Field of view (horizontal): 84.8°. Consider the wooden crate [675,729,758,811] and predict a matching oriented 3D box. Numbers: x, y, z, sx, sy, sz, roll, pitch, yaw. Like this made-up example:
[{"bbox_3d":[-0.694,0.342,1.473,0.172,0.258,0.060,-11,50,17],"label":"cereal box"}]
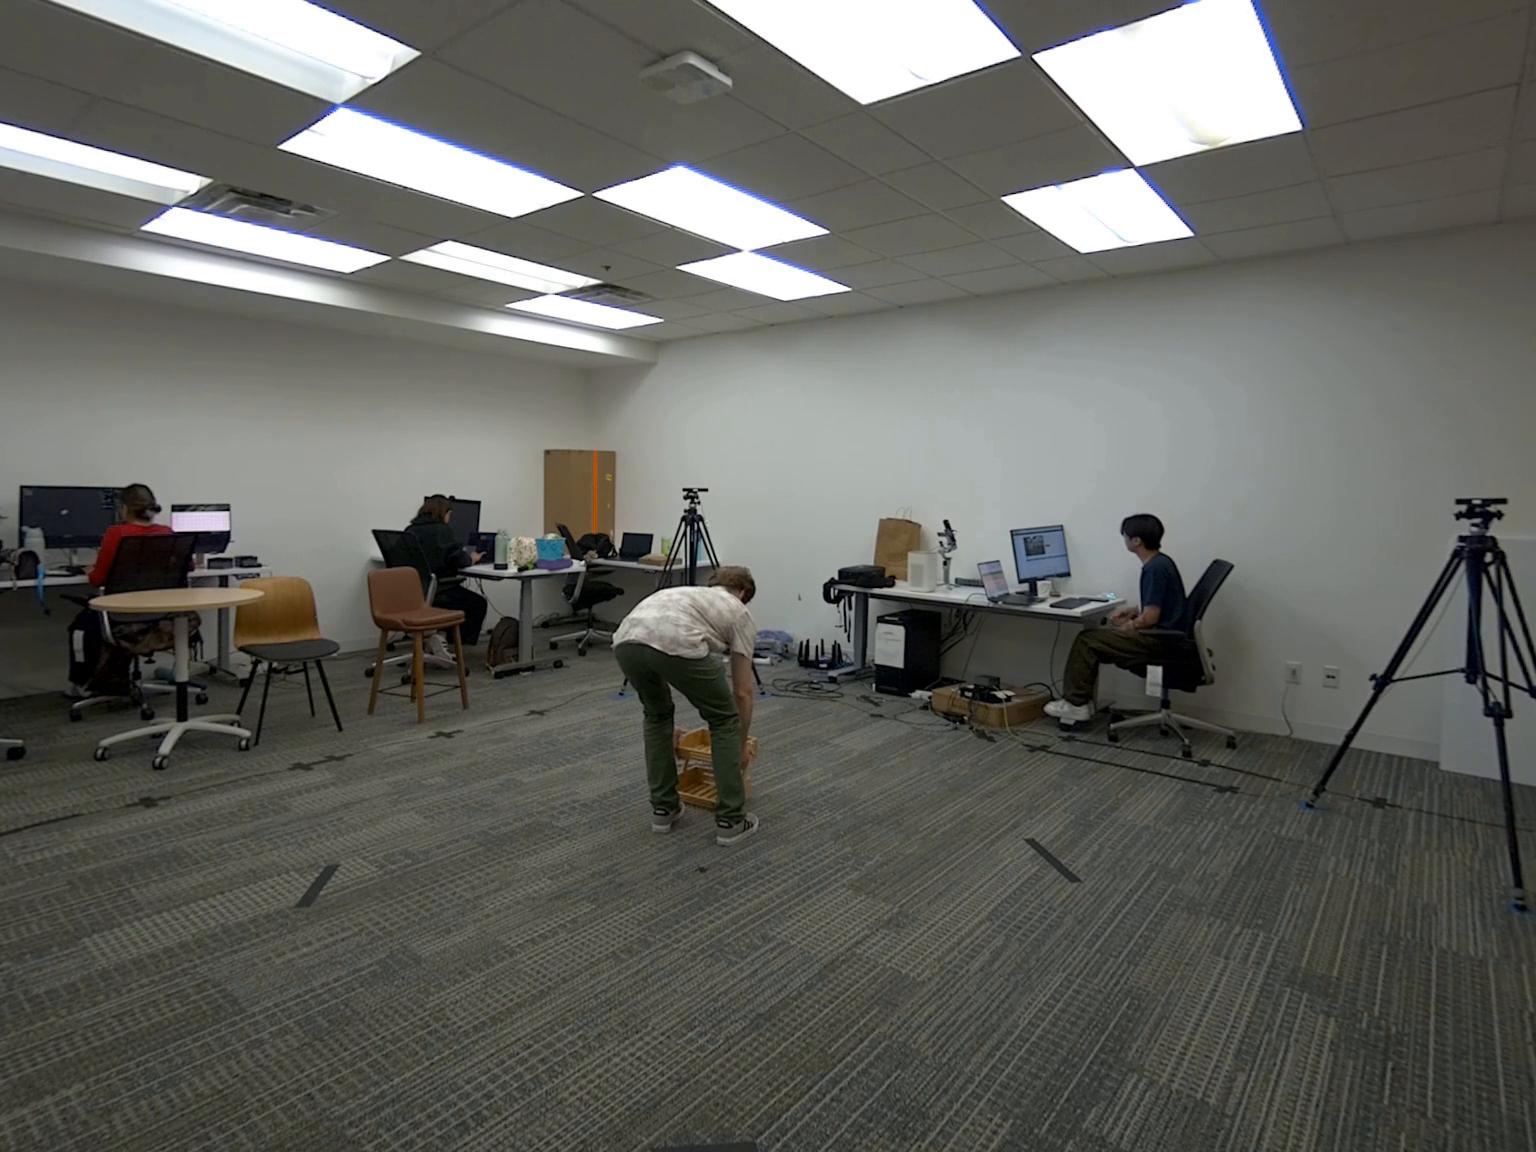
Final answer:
[{"bbox_3d":[-0.268,0.864,3.845,0.334,0.273,0.294,3,4,30],"label":"wooden crate"}]
